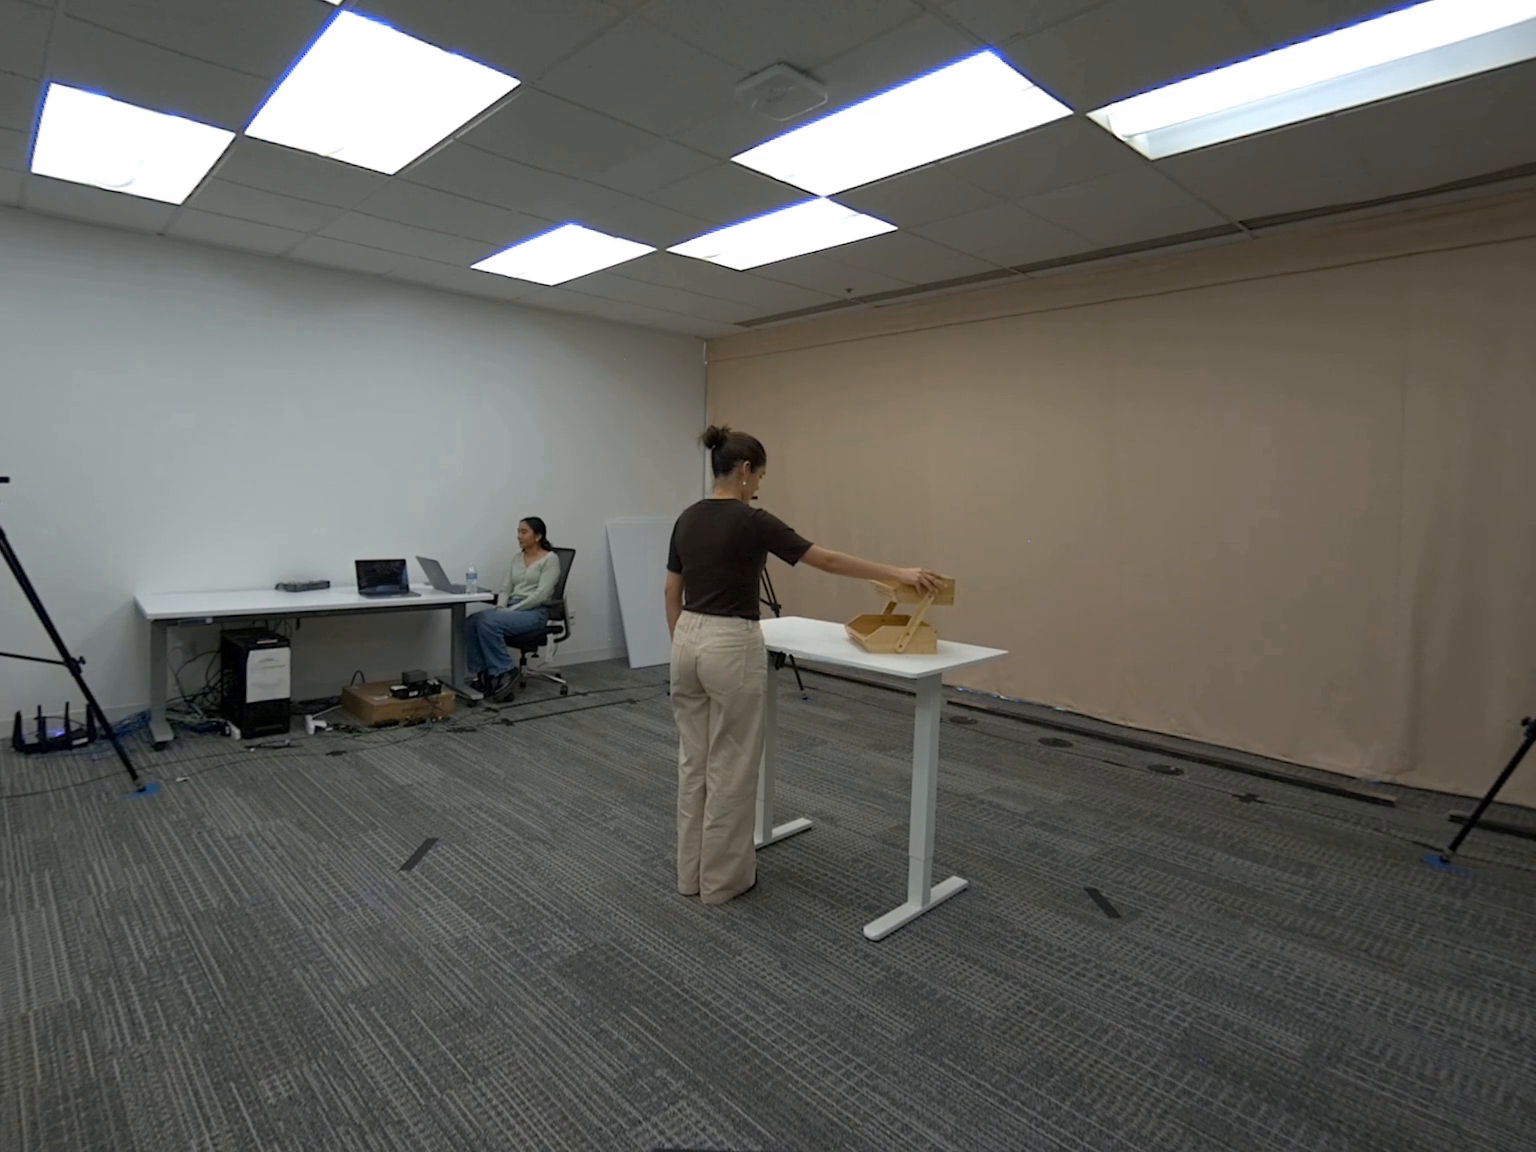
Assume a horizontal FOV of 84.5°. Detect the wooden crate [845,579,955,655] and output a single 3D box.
[{"bbox_3d":[0.458,0.115,2.970,0.300,0.272,0.327,3,5,-7],"label":"wooden crate"}]
